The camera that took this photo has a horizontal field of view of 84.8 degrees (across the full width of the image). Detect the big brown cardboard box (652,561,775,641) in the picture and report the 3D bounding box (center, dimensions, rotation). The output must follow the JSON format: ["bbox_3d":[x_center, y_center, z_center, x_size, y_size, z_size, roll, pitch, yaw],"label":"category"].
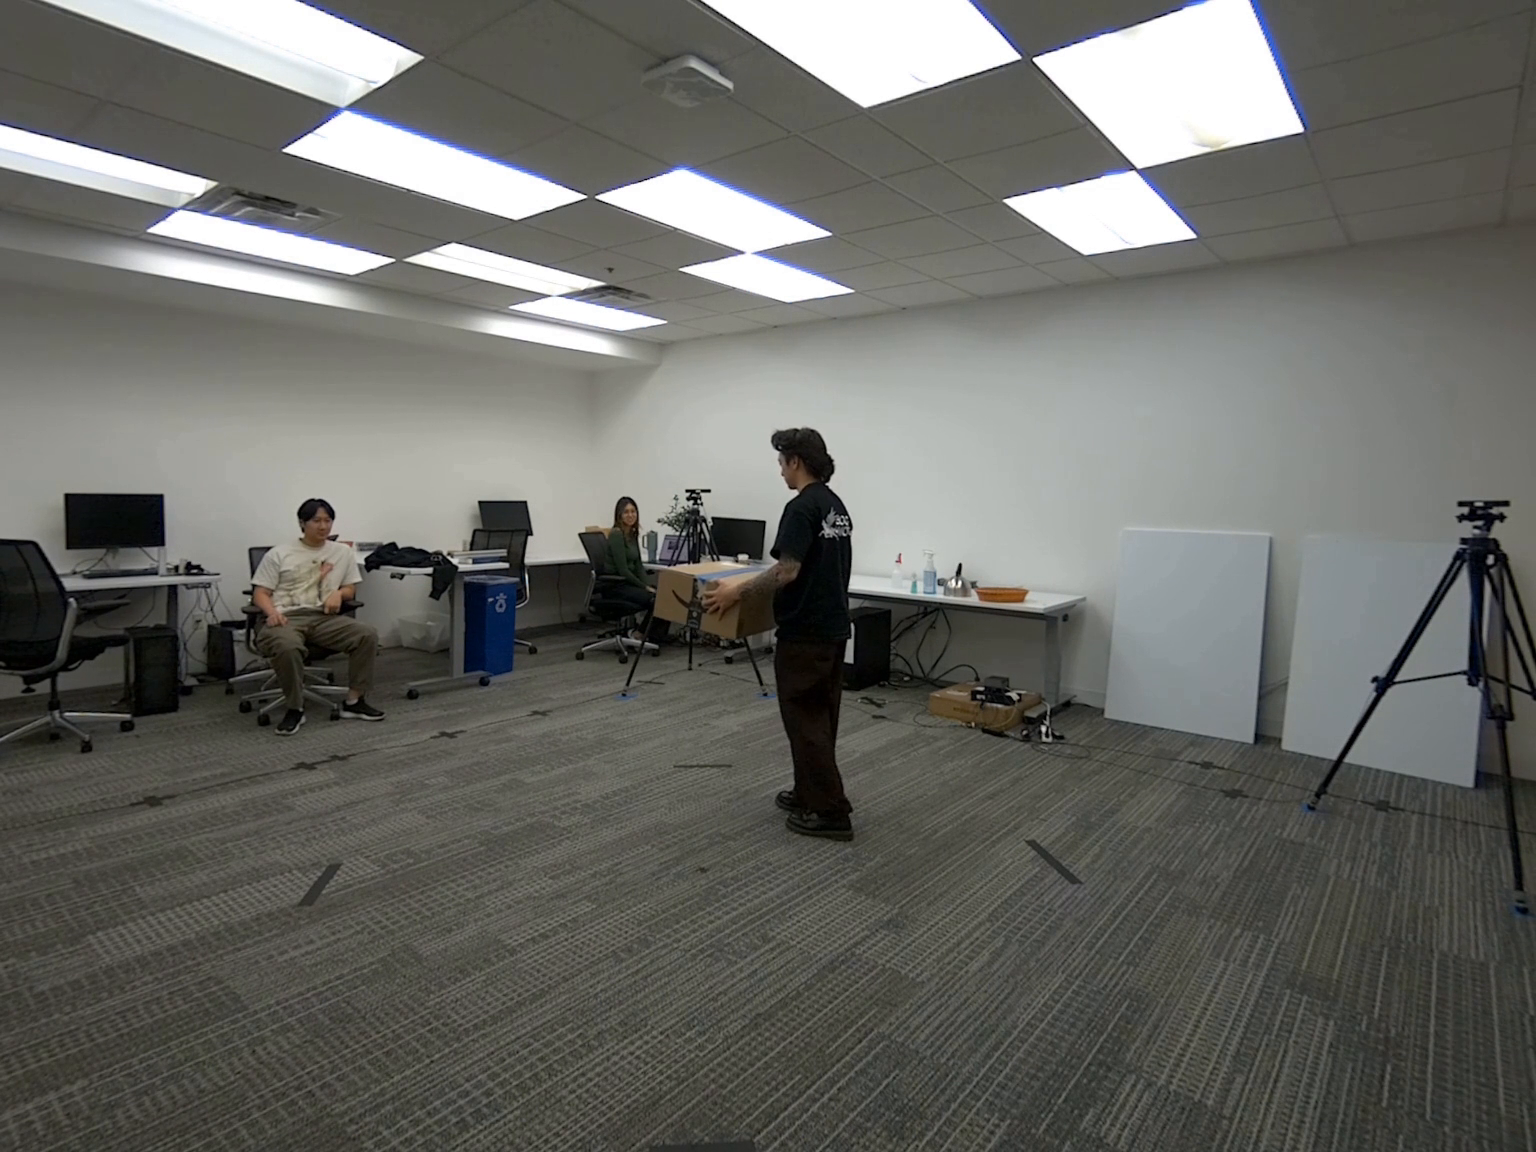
[{"bbox_3d":[-0.180,0.087,3.777,0.431,0.231,0.575,12,11,28],"label":"big brown cardboard box"}]
